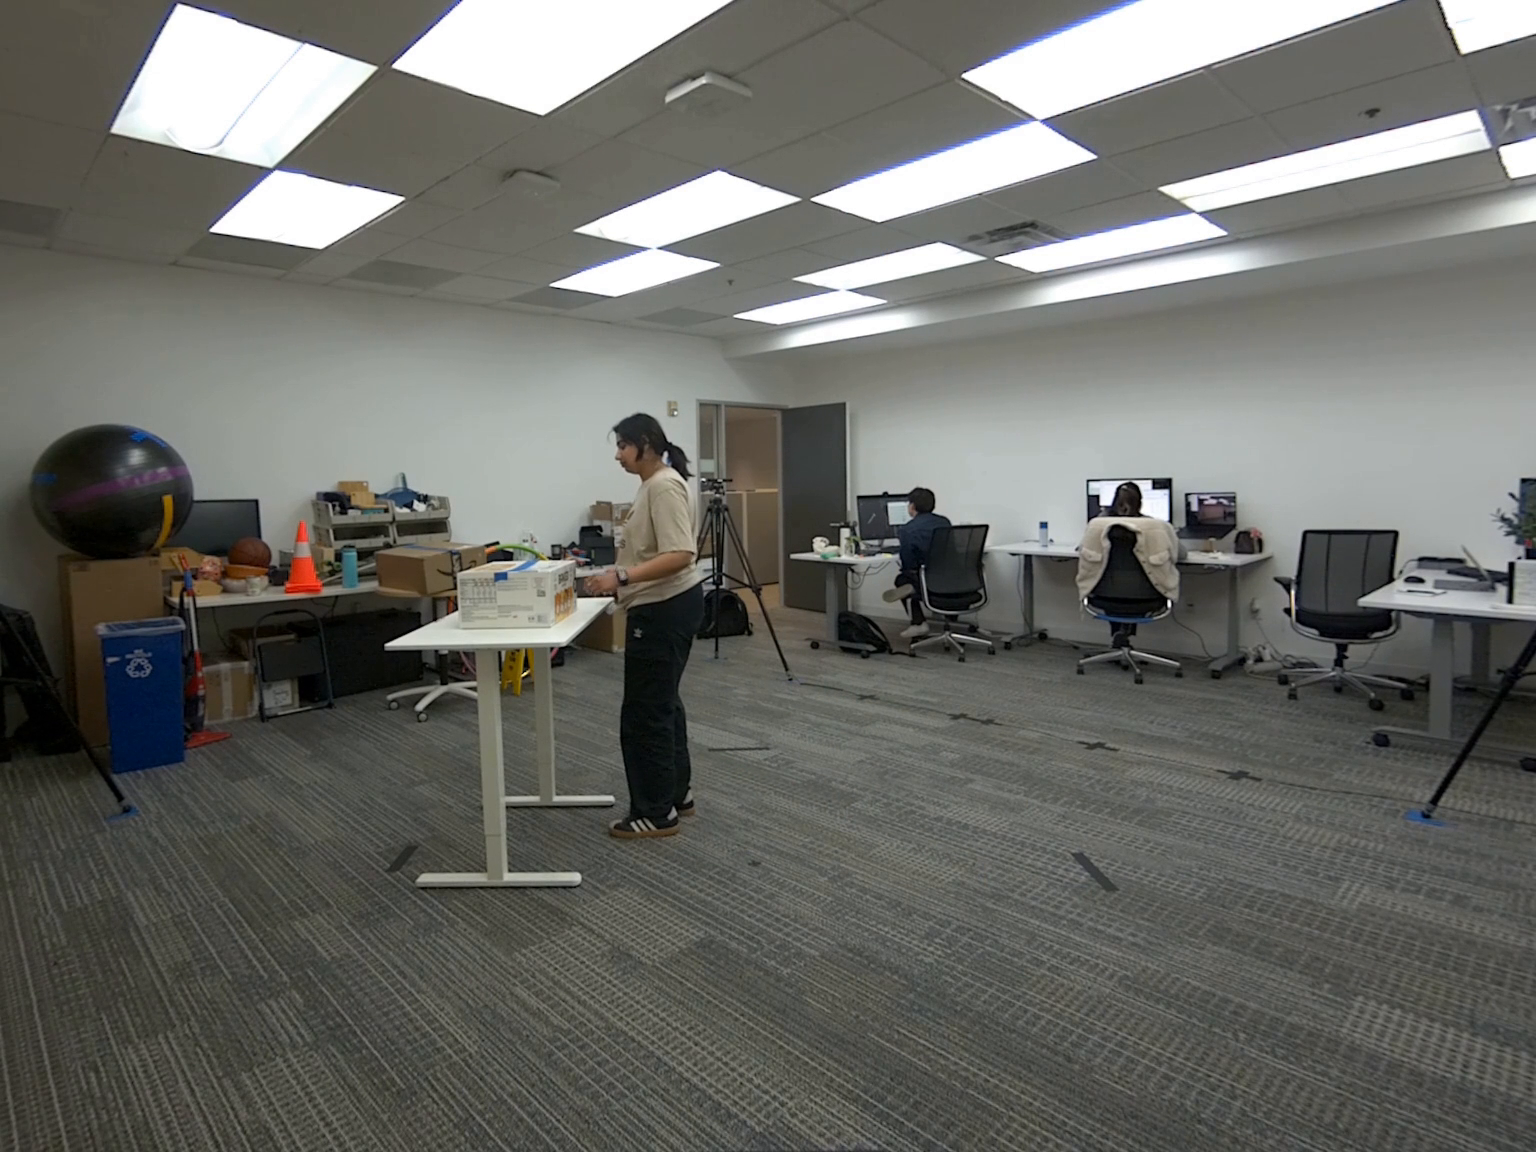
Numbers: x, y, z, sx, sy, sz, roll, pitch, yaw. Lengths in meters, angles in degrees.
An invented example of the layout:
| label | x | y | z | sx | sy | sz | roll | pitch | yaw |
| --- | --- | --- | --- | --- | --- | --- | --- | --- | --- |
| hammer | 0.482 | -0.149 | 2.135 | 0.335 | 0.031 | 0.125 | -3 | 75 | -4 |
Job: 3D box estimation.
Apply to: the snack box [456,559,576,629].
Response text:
| label | x | y | z | sx | sy | sz | roll | pitch | yaw |
| --- | --- | --- | --- | --- | --- | --- | --- | --- | --- |
| snack box | -0.941 | 0.065 | 3.248 | 0.341 | 0.205 | 0.406 | -2 | 6 | 2 |
